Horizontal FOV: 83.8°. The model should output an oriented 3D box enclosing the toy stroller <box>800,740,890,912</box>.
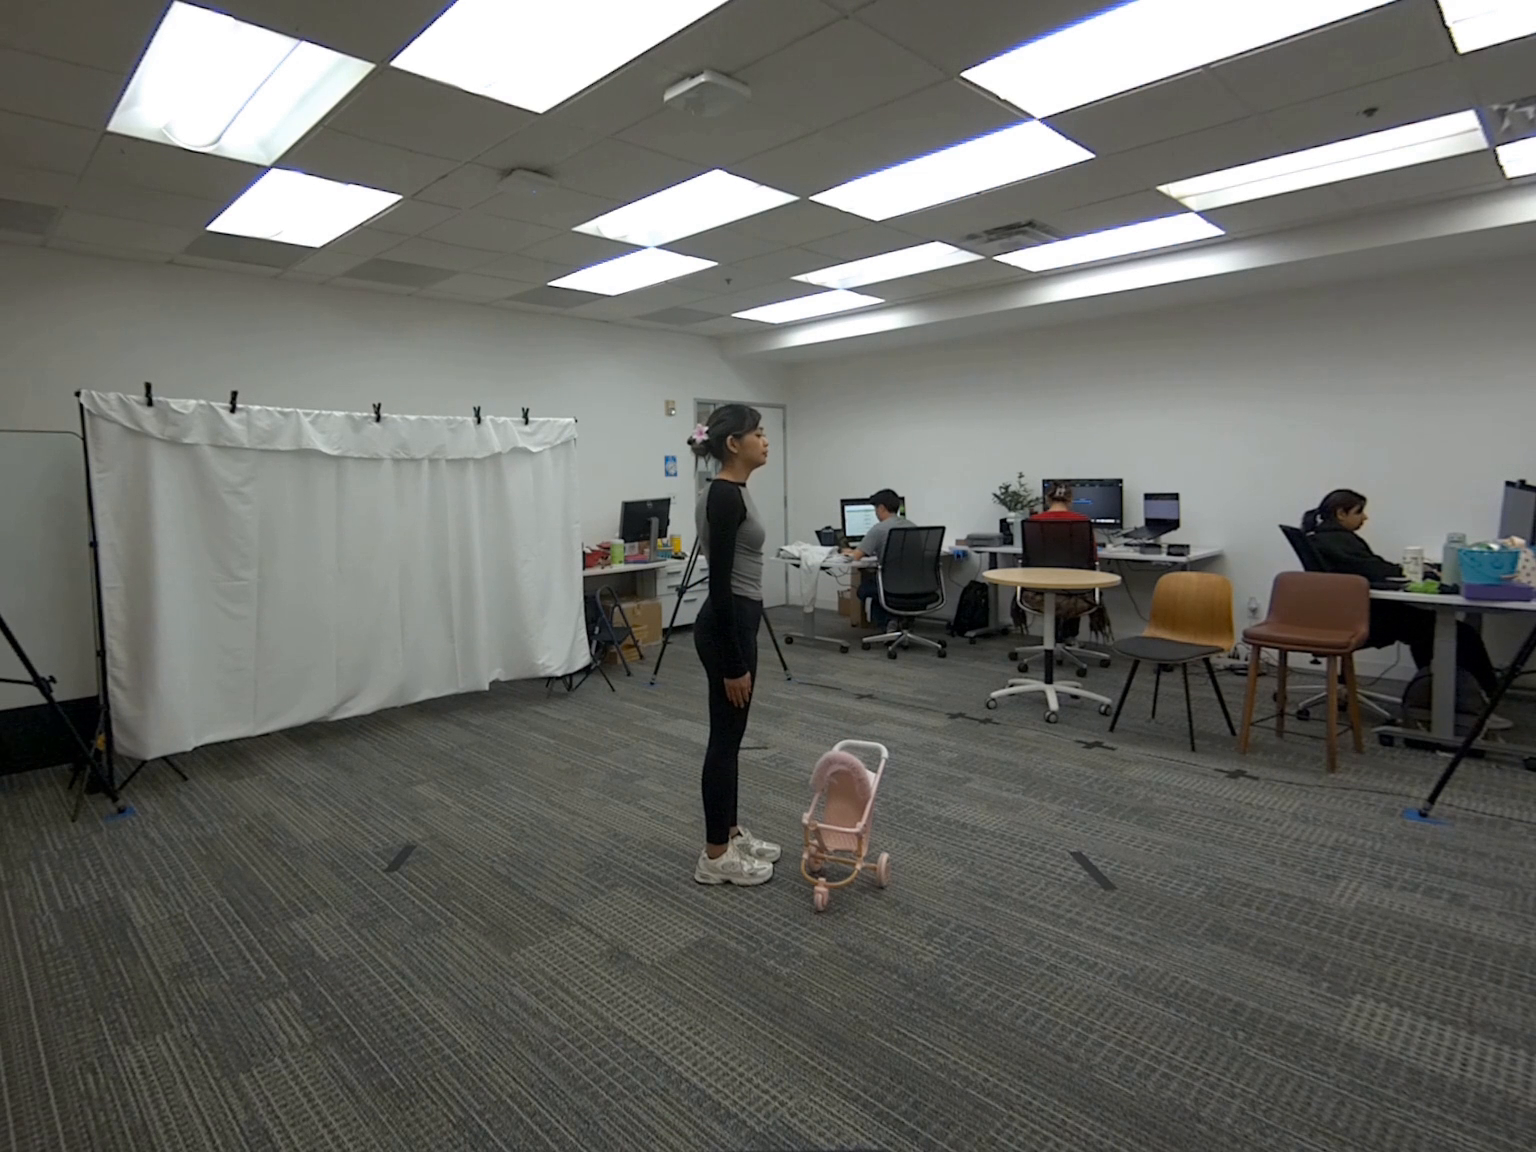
[{"bbox_3d":[0.251,0.835,2.905,0.289,0.539,0.330,1,-10,31],"label":"toy stroller"}]
